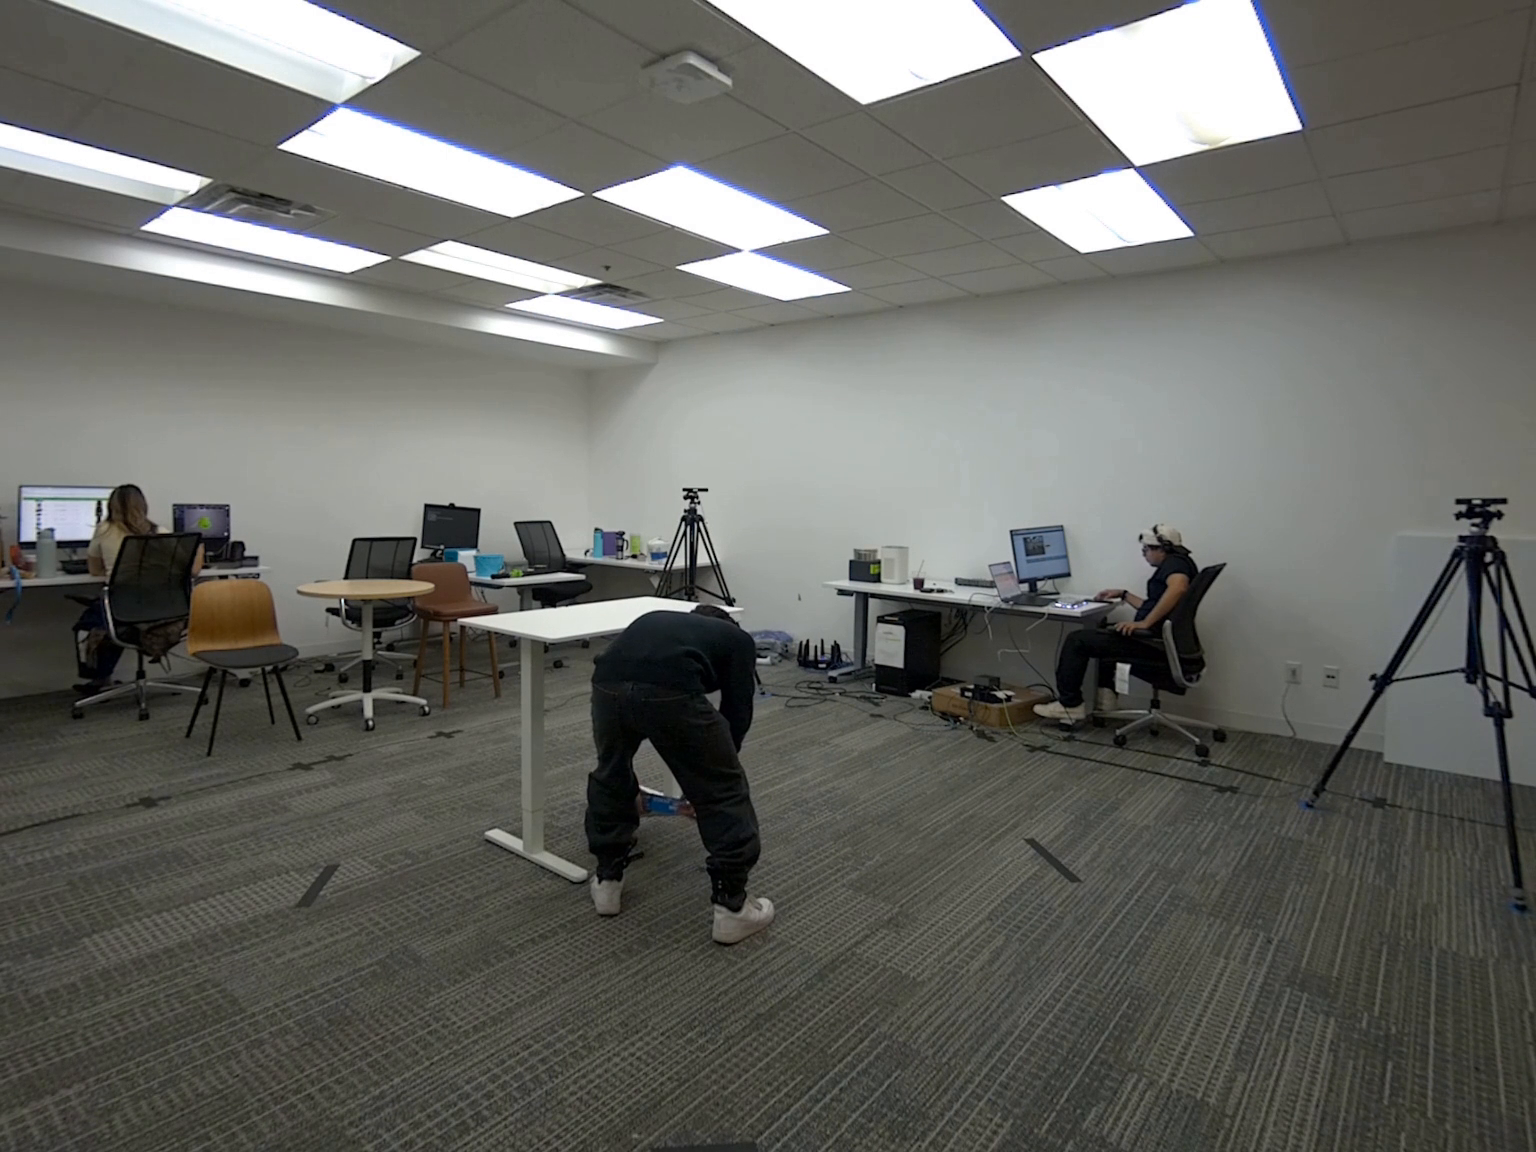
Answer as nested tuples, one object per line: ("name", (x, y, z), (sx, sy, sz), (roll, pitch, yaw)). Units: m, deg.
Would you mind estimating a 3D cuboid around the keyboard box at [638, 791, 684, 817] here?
("keyboard box", (-0.520, 0.899, 3.333), (0.169, 0.060, 0.446), (22, -25, -35))
